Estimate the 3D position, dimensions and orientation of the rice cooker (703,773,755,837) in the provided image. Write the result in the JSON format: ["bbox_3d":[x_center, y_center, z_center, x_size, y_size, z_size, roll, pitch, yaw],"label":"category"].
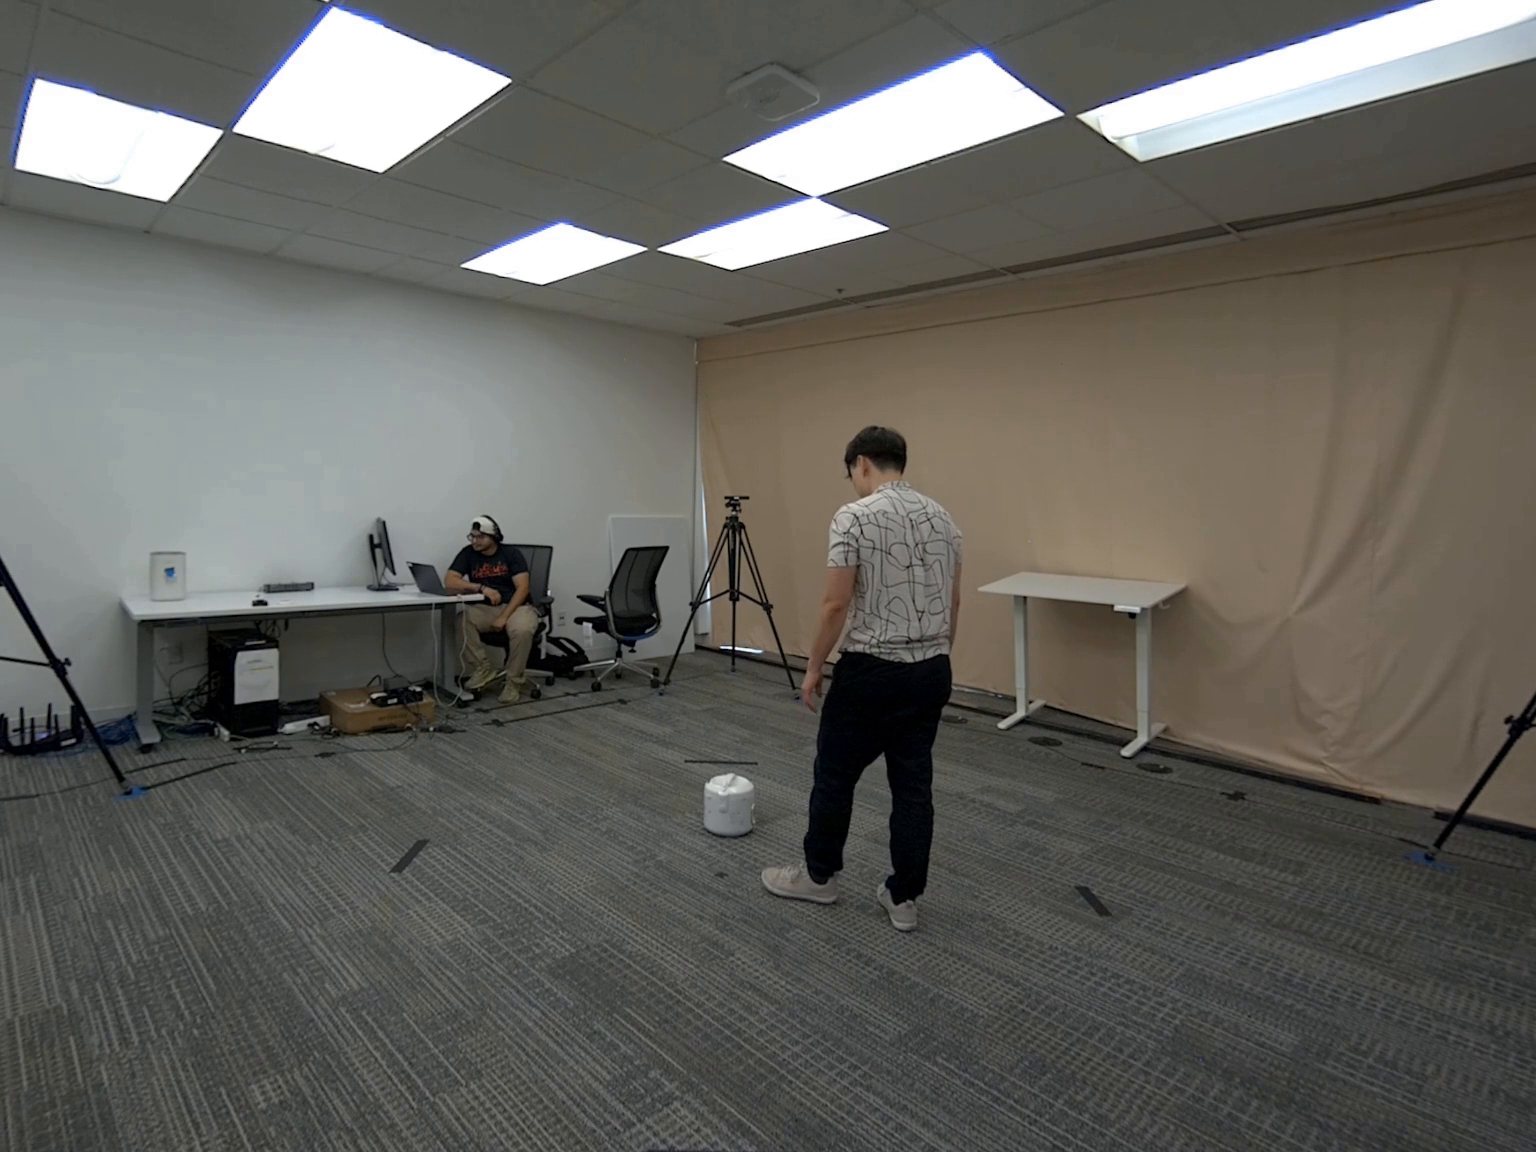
[{"bbox_3d":[-0.168,0.948,3.530,0.220,0.232,0.218,2,4,14],"label":"rice cooker"}]
